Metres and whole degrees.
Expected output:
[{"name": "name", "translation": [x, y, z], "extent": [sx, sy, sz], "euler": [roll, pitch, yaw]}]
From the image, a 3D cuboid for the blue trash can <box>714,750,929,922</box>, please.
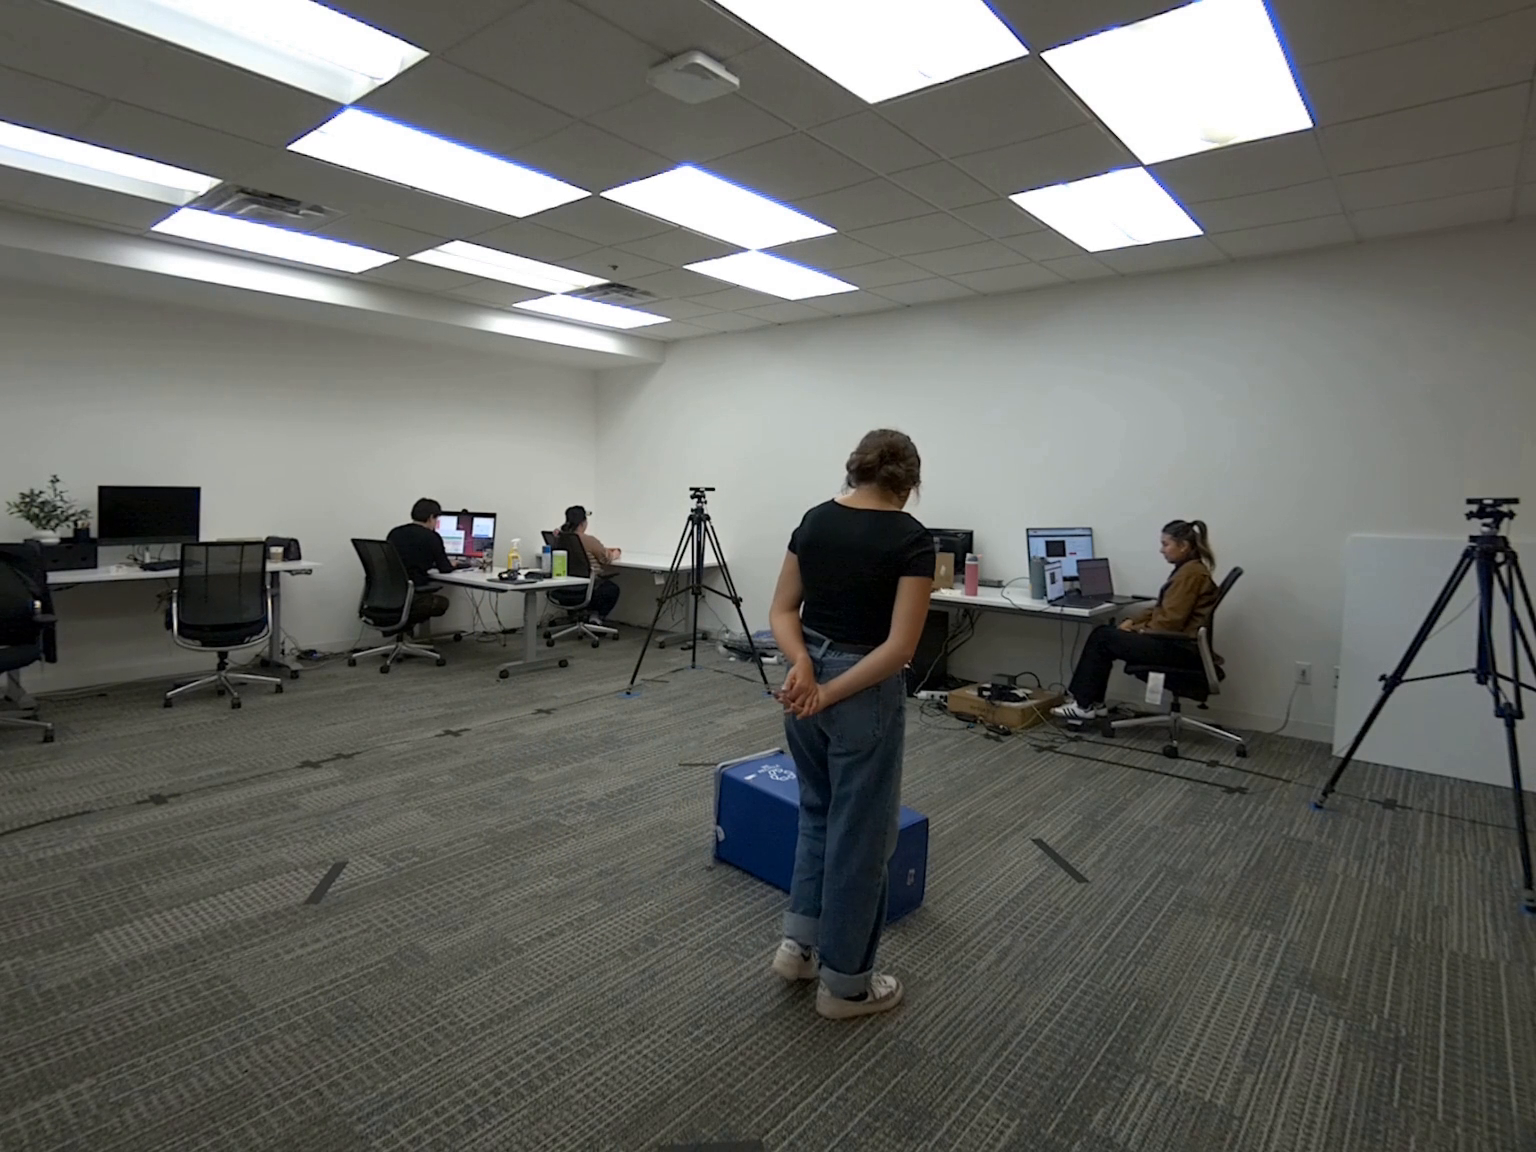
[{"name": "blue trash can", "translation": [0.168, 0.919, 3.020], "extent": [0.740, 0.376, 0.363], "euler": [10, 9, 44]}]
